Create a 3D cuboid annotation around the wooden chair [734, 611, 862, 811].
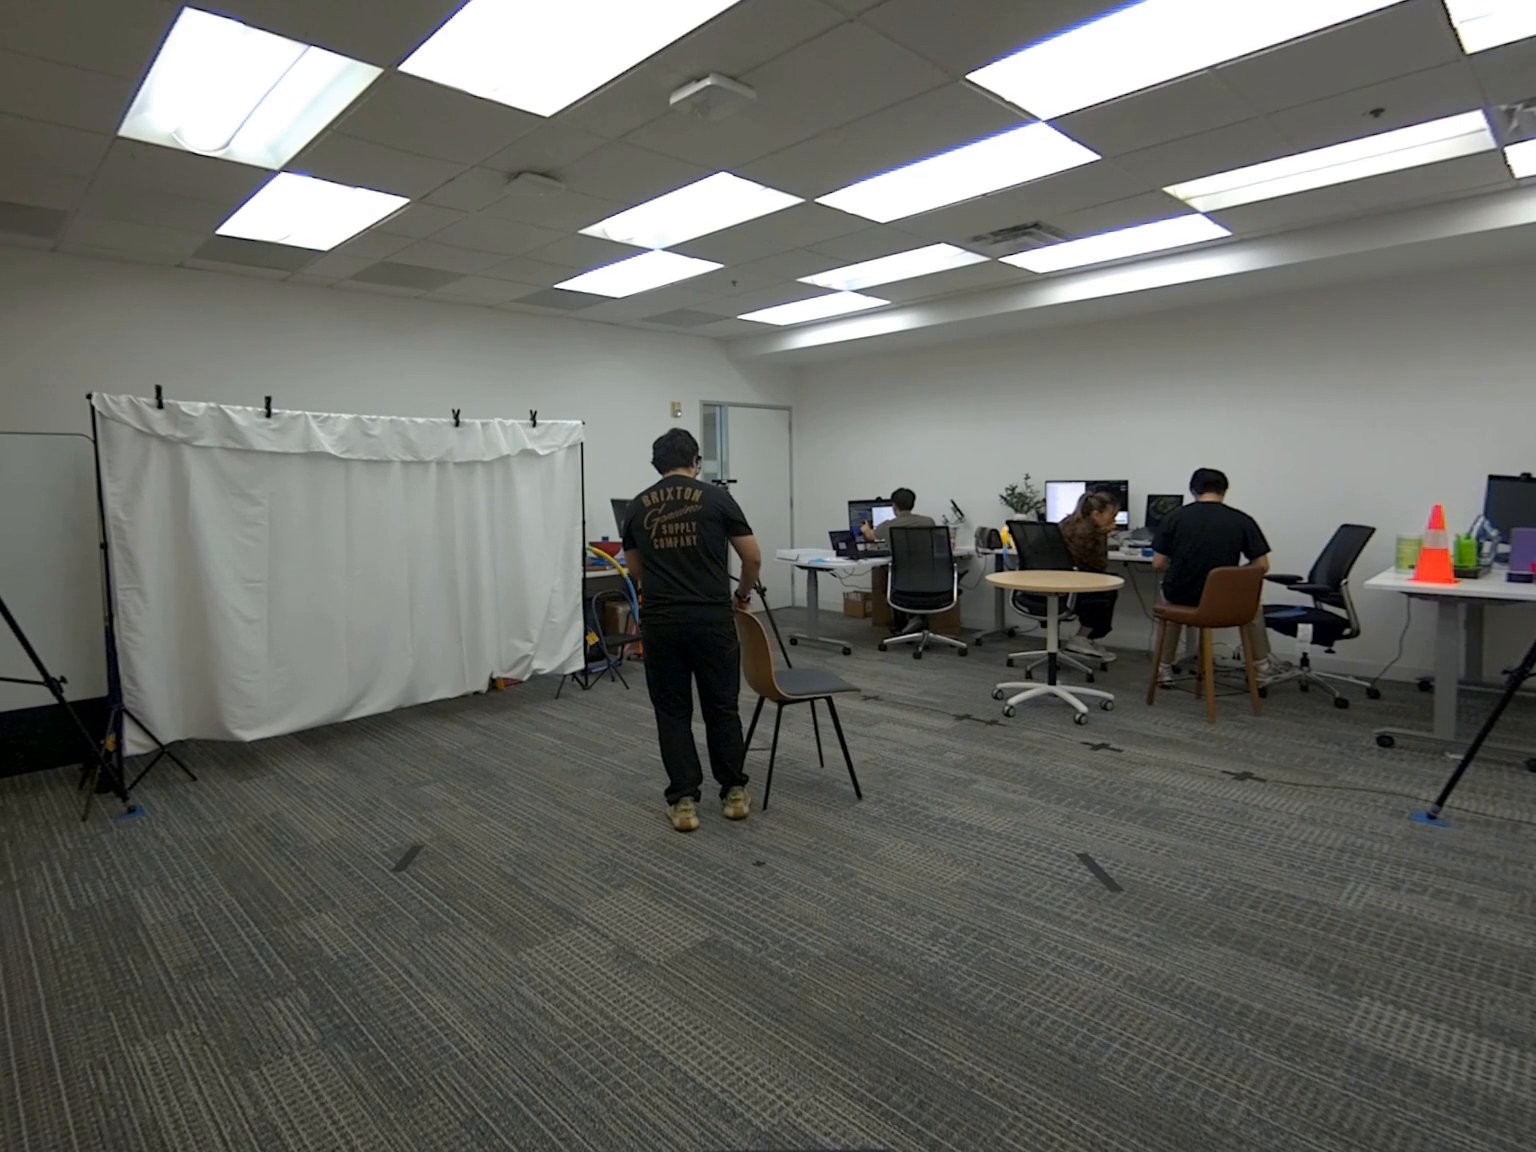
[{"bbox_3d":[0.127,0.537,3.848,0.516,0.874,0.486,-6,5,-16],"label":"wooden chair"}]
